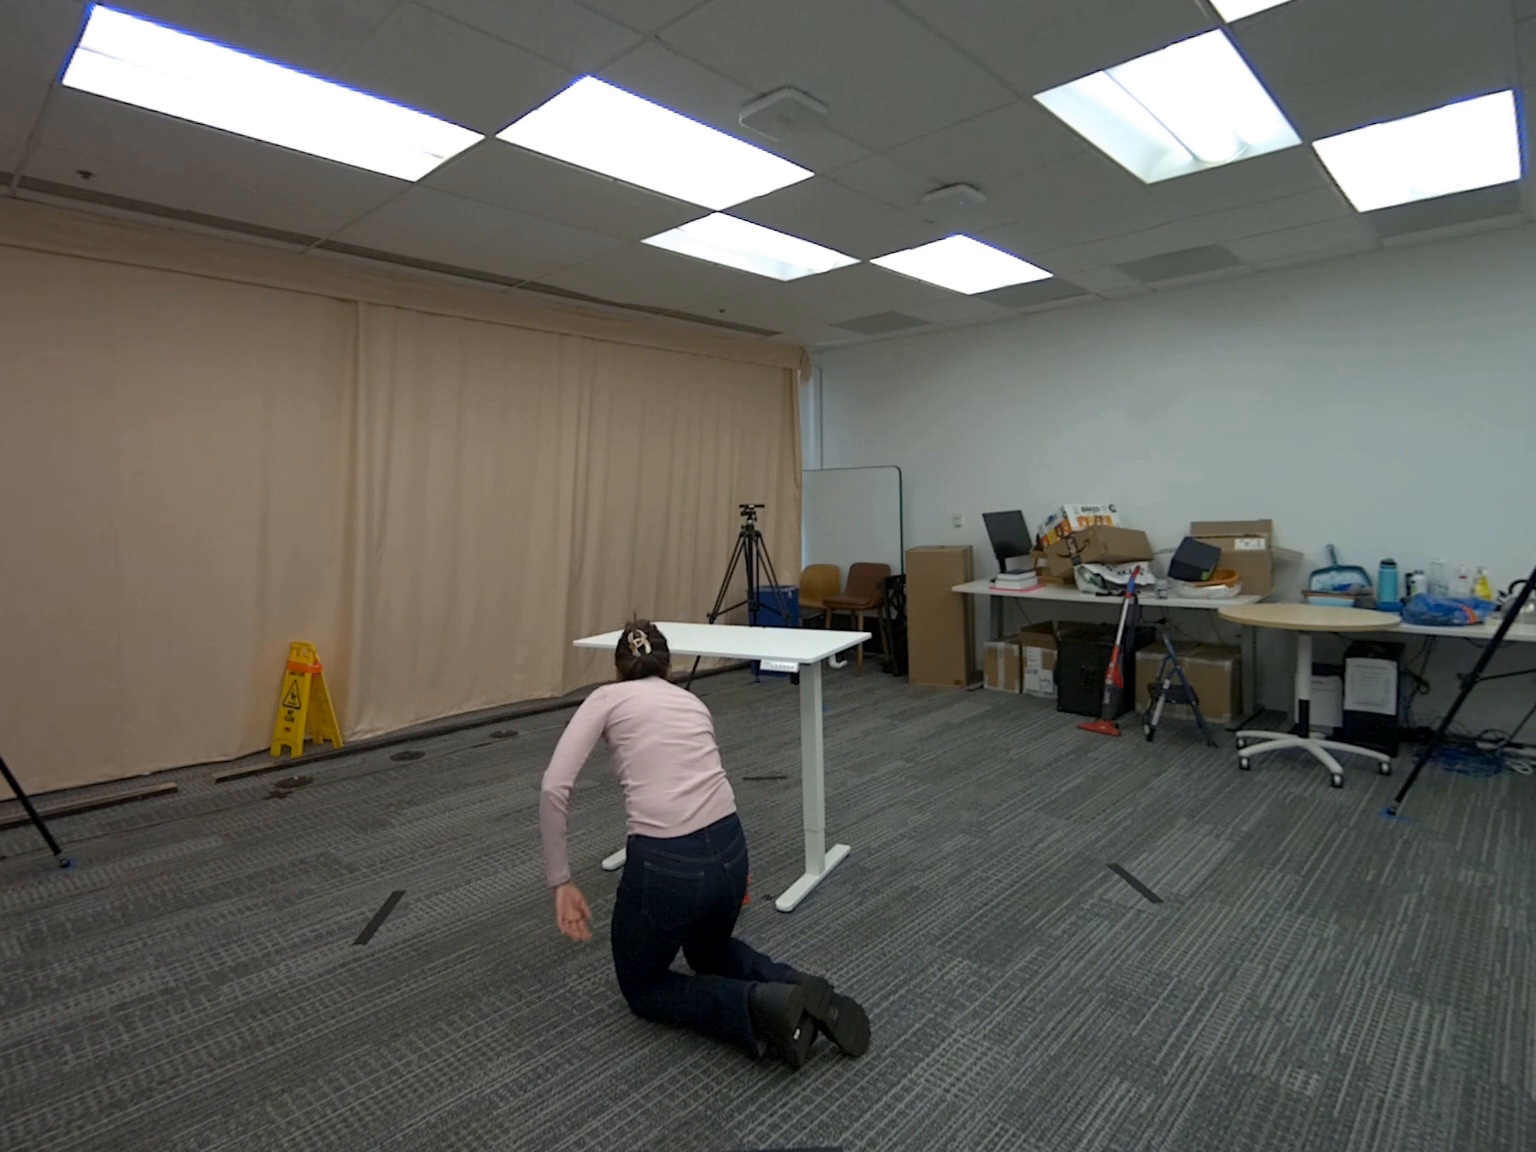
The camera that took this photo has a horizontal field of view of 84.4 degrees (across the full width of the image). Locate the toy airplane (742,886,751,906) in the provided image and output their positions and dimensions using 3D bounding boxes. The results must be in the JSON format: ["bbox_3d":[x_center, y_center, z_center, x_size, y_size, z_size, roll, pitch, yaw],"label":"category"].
[{"bbox_3d":[-0.164,1.084,2.820,0.245,0.156,0.266,-4,4,-27],"label":"toy airplane"}]
